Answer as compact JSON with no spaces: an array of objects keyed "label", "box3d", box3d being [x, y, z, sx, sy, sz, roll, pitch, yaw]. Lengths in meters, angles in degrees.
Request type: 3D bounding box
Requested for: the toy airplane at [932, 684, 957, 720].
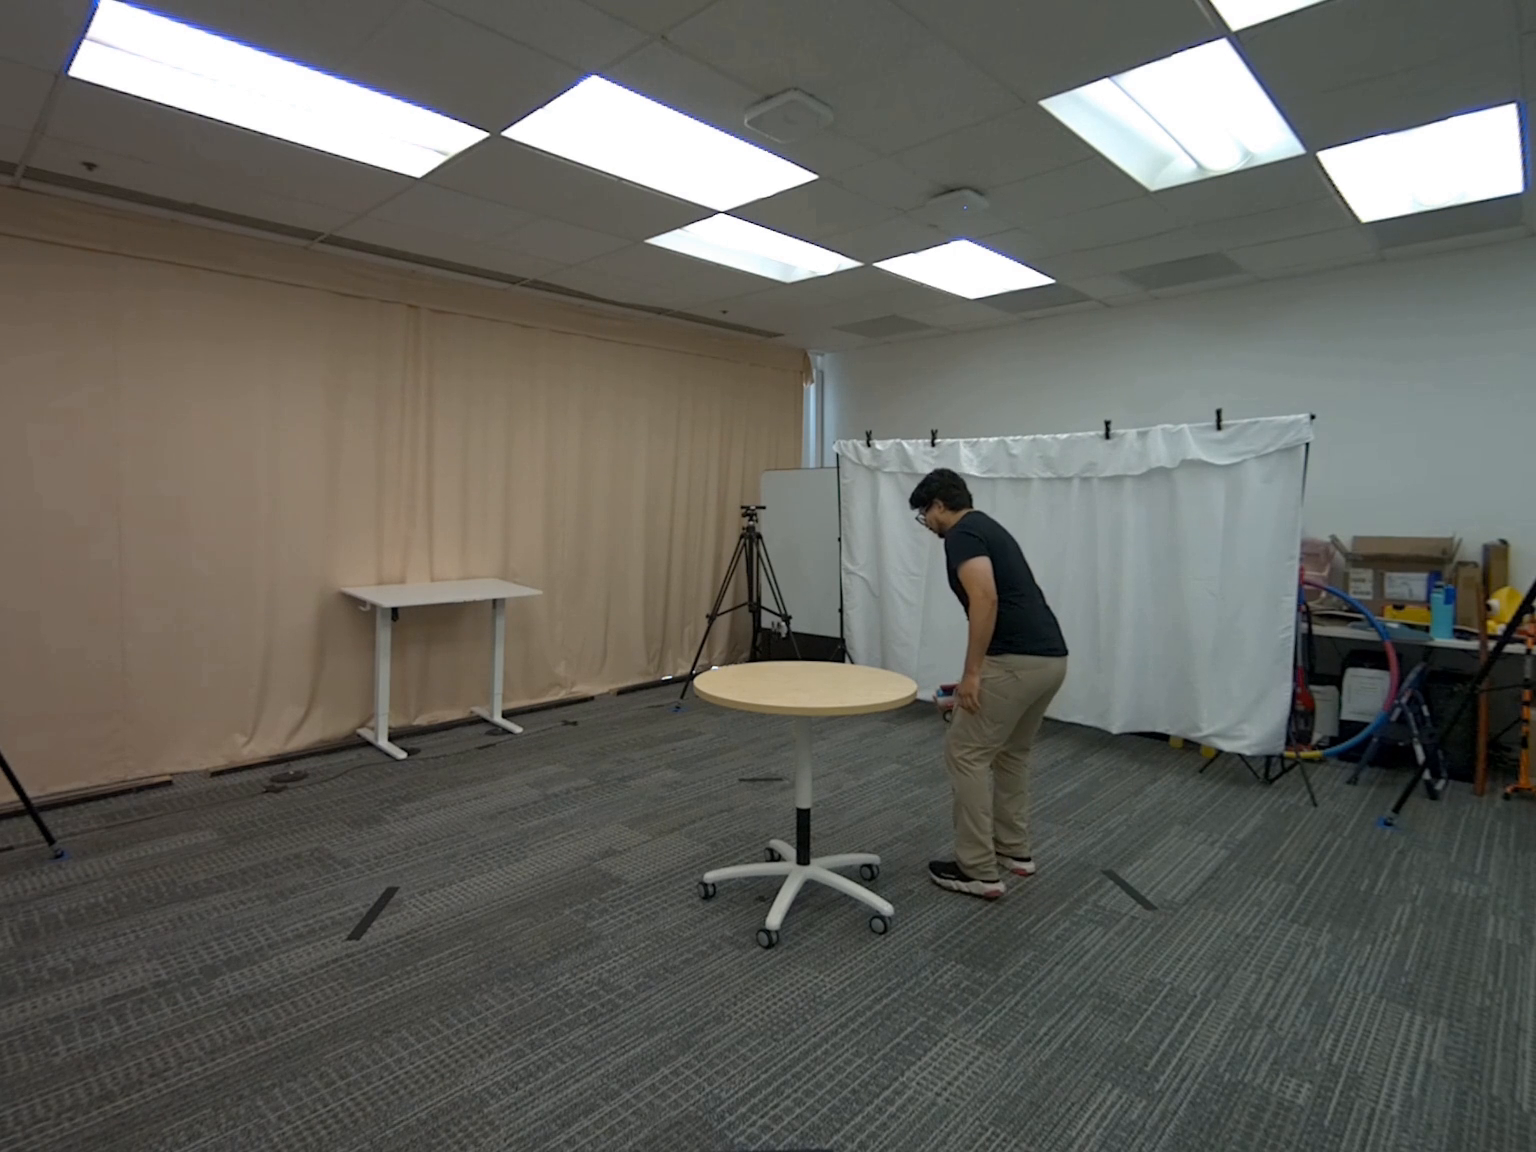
[{"label":"toy airplane","box3d":[0.839,0.518,3.532,0.257,0.159,0.249,-15,-16,-9]}]
